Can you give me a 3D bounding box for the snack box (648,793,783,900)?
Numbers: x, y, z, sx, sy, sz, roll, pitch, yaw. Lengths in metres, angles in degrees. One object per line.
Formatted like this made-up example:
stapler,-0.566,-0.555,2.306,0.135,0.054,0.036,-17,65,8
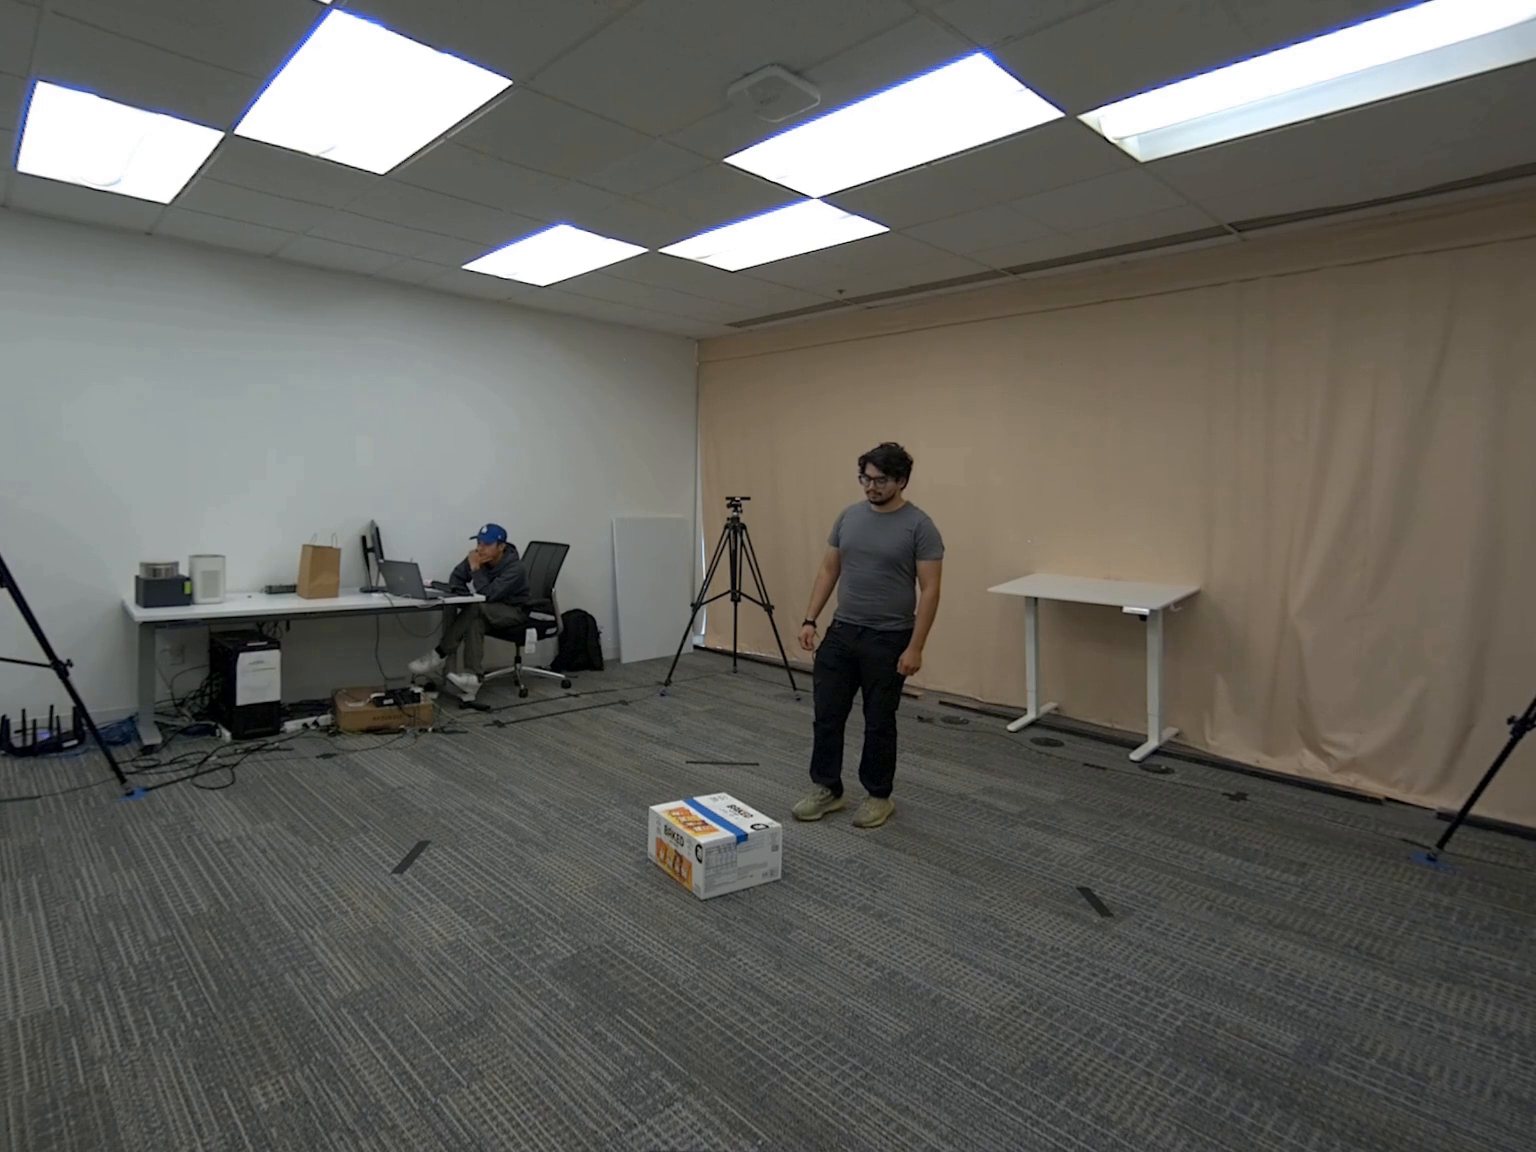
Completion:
snack box,-0.209,1.000,3.149,0.333,0.205,0.415,-2,5,-34
